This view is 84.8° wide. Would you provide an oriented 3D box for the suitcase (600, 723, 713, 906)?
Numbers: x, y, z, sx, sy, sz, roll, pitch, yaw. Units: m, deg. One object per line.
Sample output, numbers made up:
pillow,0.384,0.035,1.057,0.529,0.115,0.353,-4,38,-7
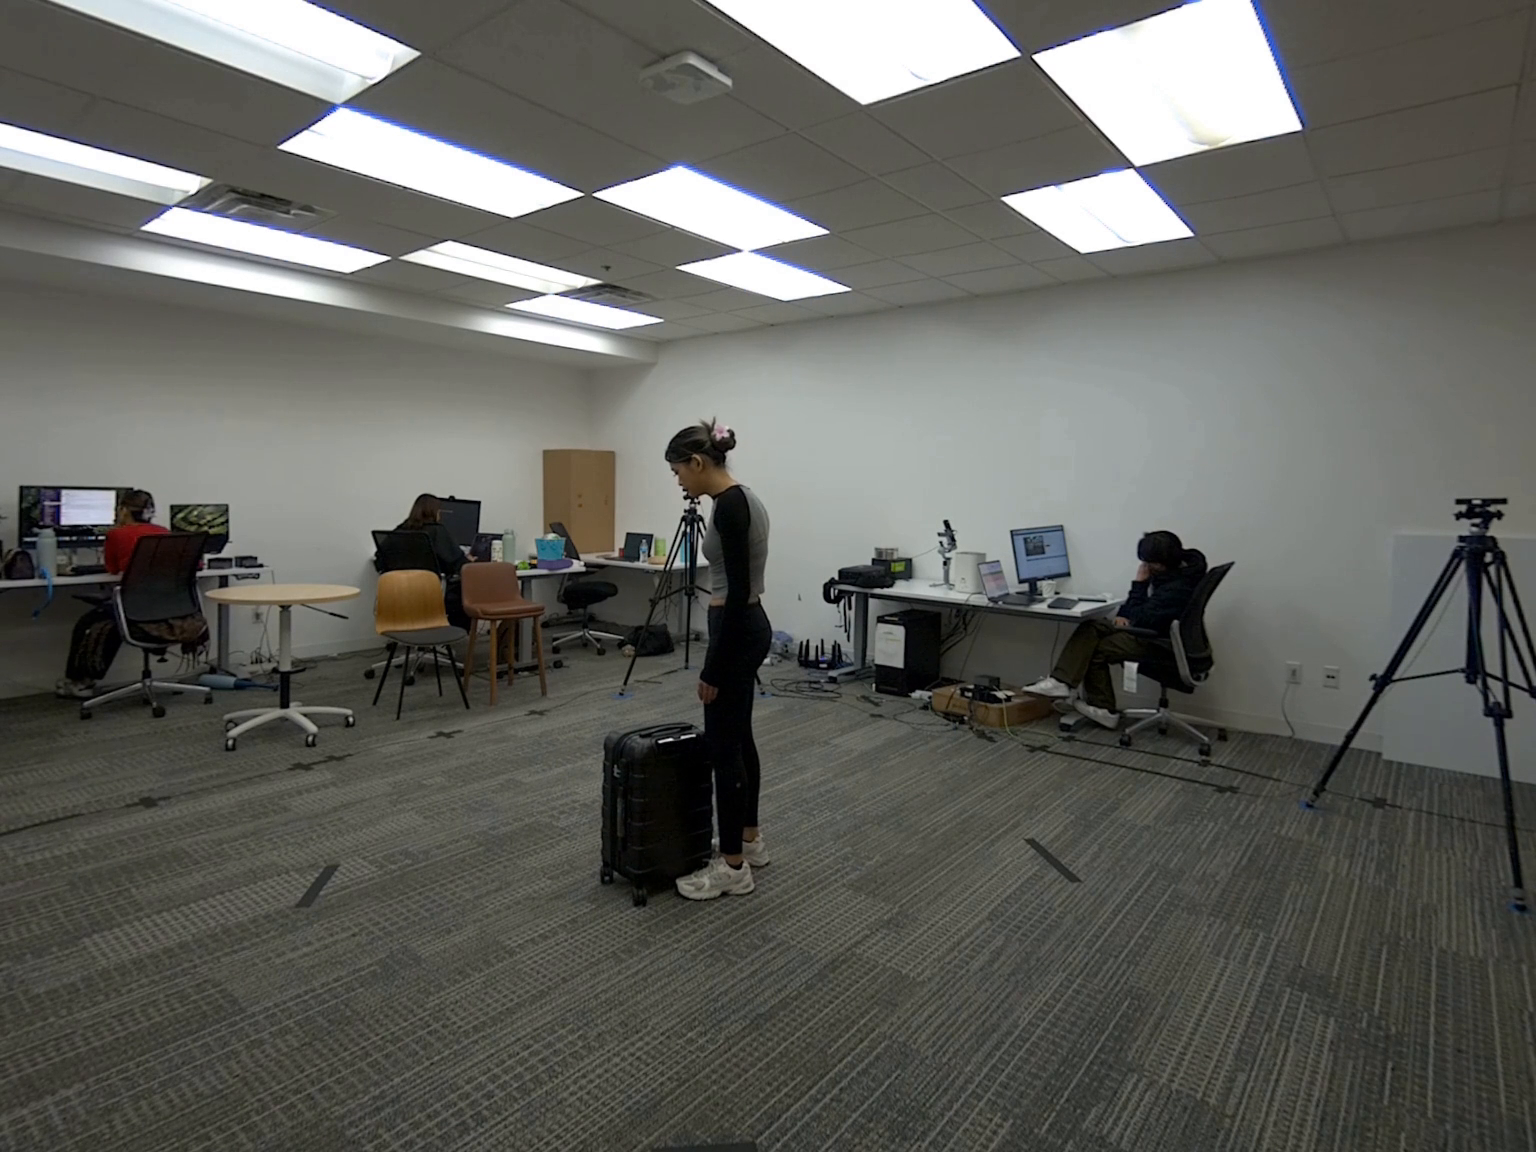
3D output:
suitcase,-0.409,0.802,3.016,0.364,0.549,0.256,-2,2,-39
